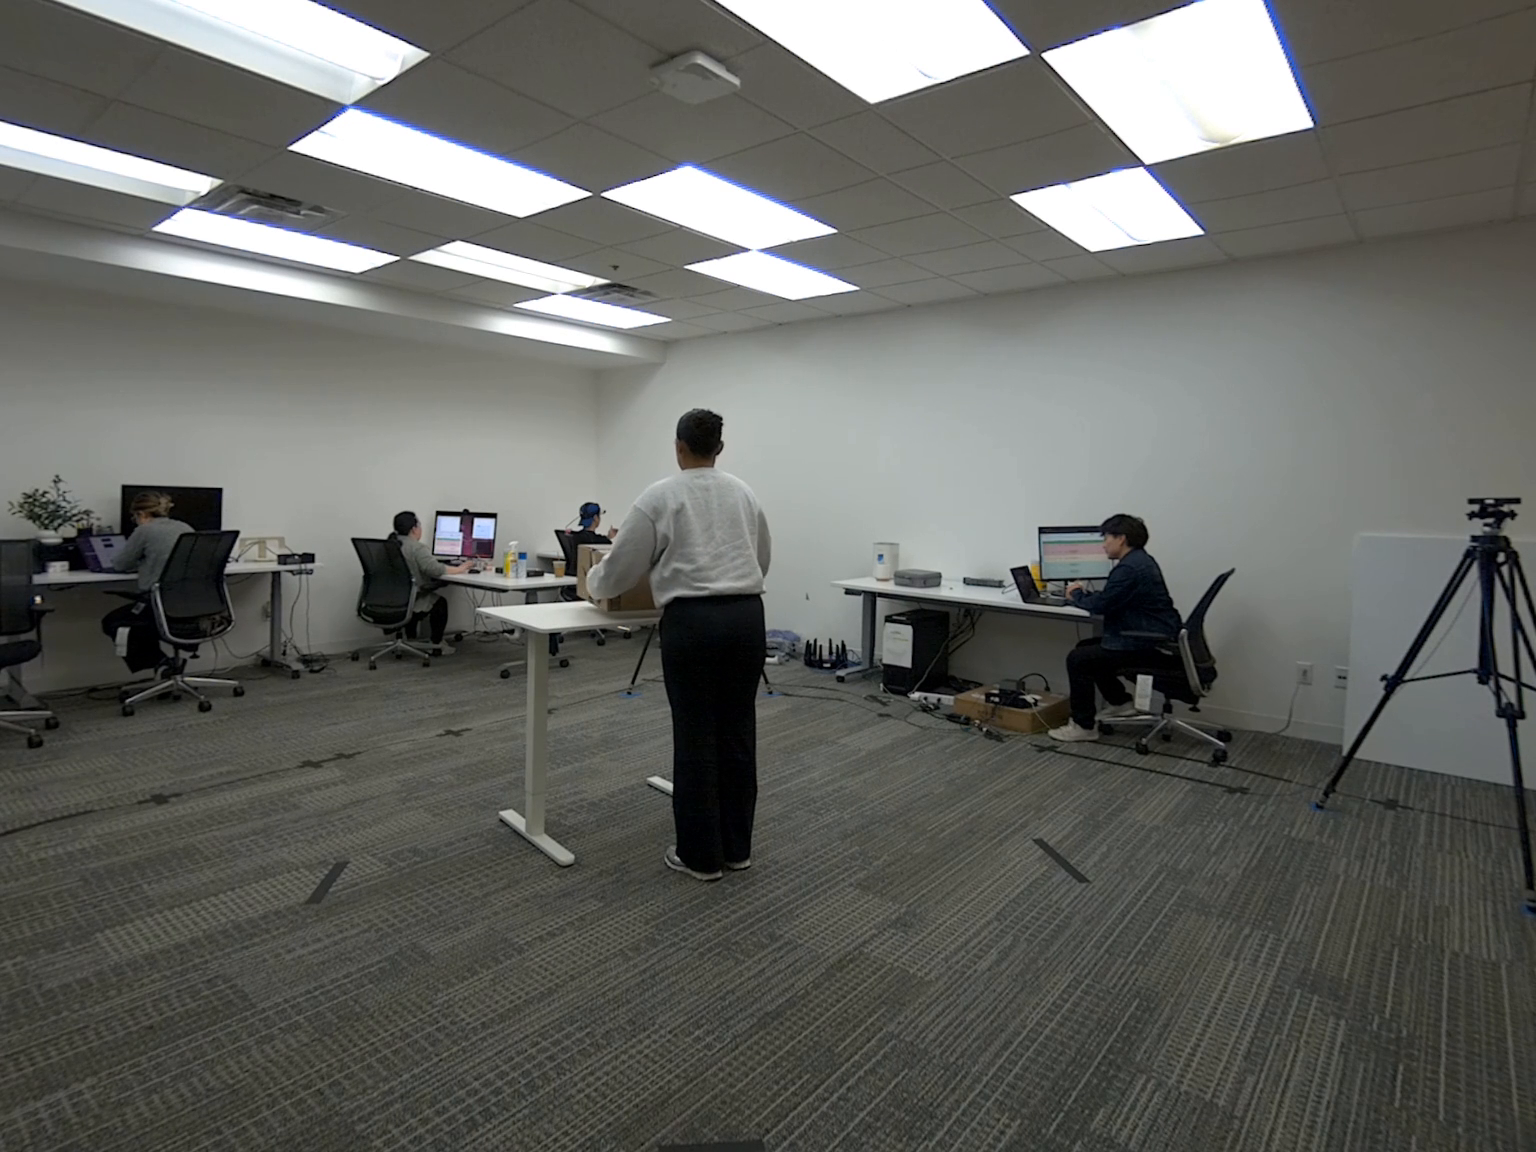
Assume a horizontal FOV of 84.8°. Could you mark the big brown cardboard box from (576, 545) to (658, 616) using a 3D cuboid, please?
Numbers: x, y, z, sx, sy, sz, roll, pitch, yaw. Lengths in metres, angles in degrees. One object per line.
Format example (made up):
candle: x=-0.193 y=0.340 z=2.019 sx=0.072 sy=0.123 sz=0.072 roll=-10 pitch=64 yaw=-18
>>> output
big brown cardboard box: x=-0.454 y=-0.008 z=3.502 sx=0.574 sy=0.232 sz=0.430 roll=-3 pitch=8 yaw=-27
